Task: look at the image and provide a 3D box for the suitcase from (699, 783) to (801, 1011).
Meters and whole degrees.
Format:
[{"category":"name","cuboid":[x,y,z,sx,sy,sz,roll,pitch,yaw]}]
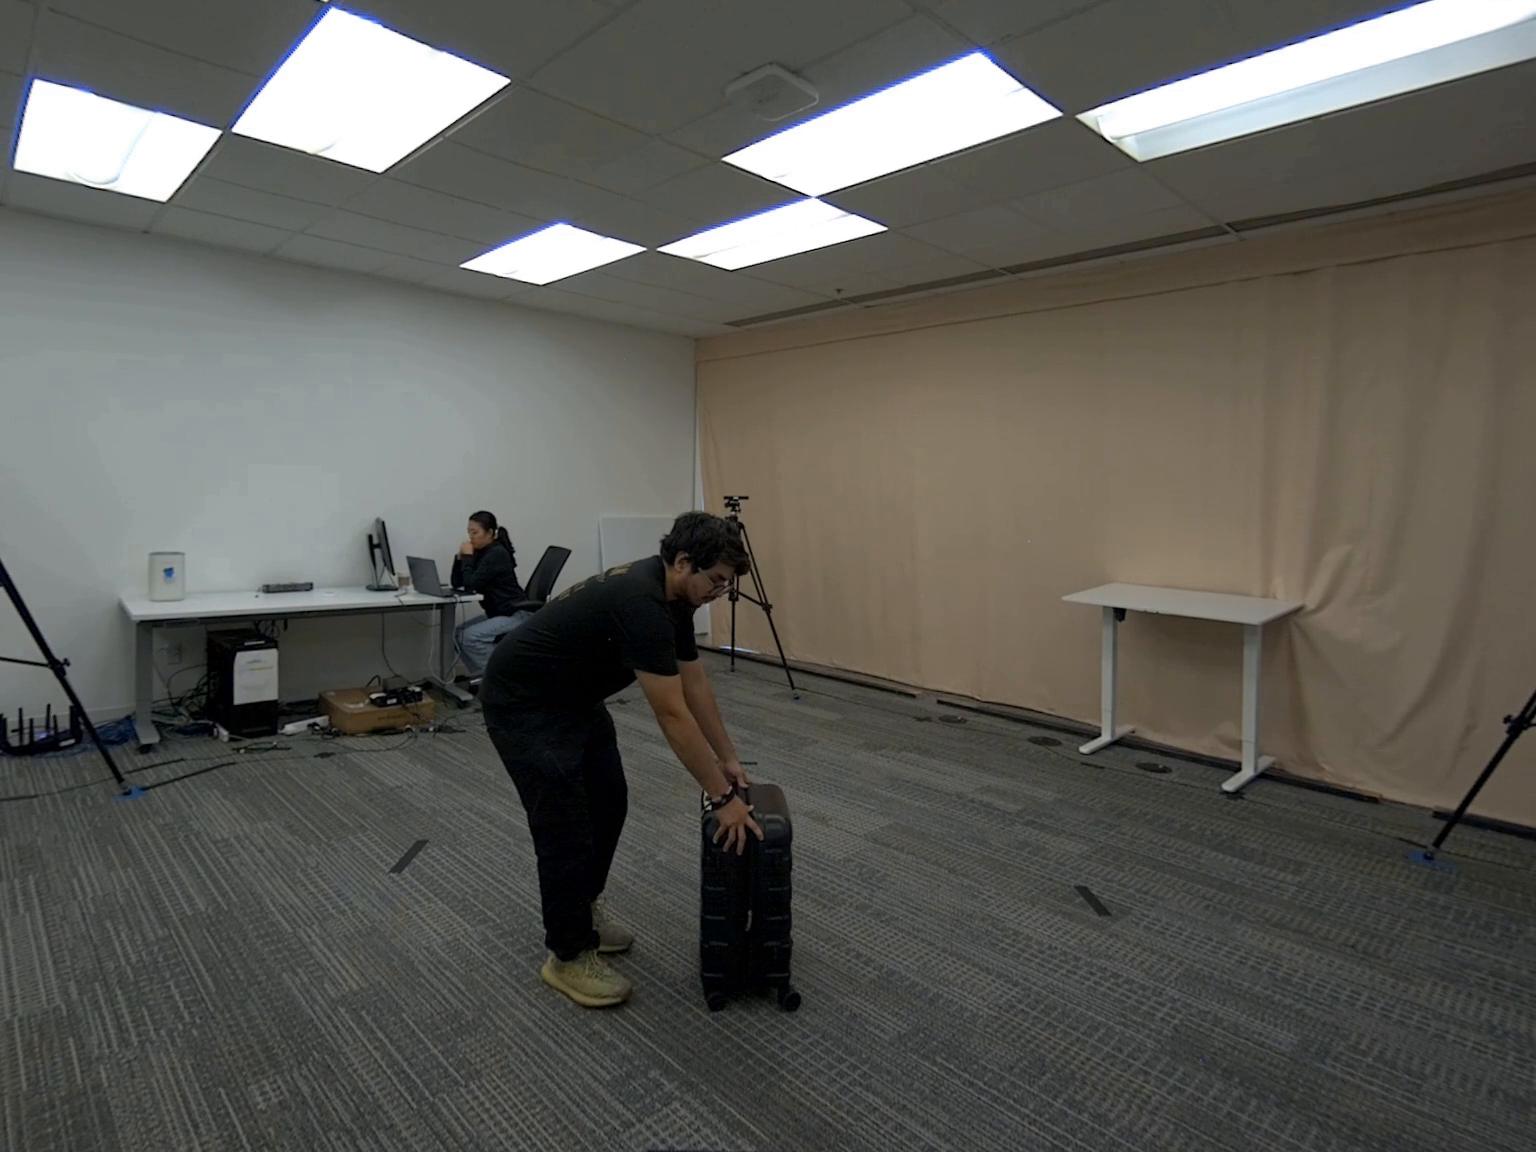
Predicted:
[{"category":"suitcase","cuboid":[-0.075,0.899,2.420,0.248,0.547,0.377,0,5,-3]}]
